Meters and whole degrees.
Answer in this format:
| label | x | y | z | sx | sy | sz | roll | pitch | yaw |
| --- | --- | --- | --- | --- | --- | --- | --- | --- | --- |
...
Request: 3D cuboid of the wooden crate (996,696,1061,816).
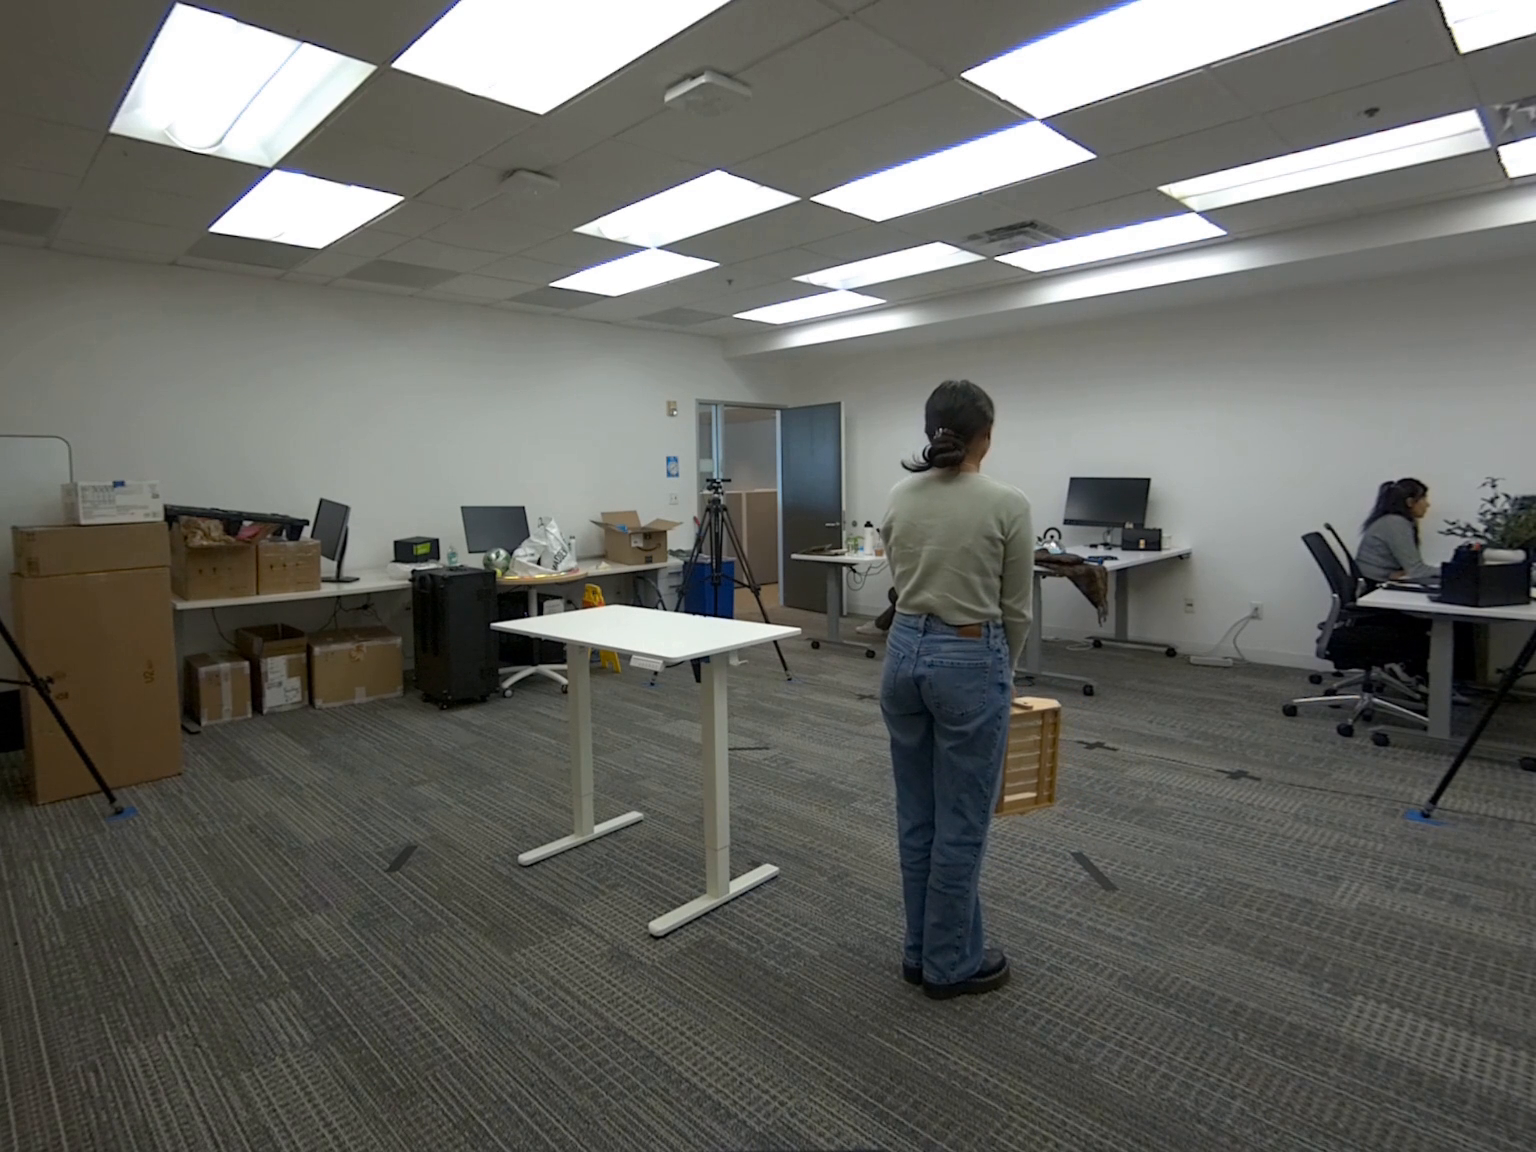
| label | x | y | z | sx | sy | sz | roll | pitch | yaw |
| --- | --- | --- | --- | --- | --- | --- | --- | --- | --- |
| wooden crate | 0.656 | 0.484 | 2.507 | 0.296 | 0.321 | 0.281 | -5 | 11 | -23 |
